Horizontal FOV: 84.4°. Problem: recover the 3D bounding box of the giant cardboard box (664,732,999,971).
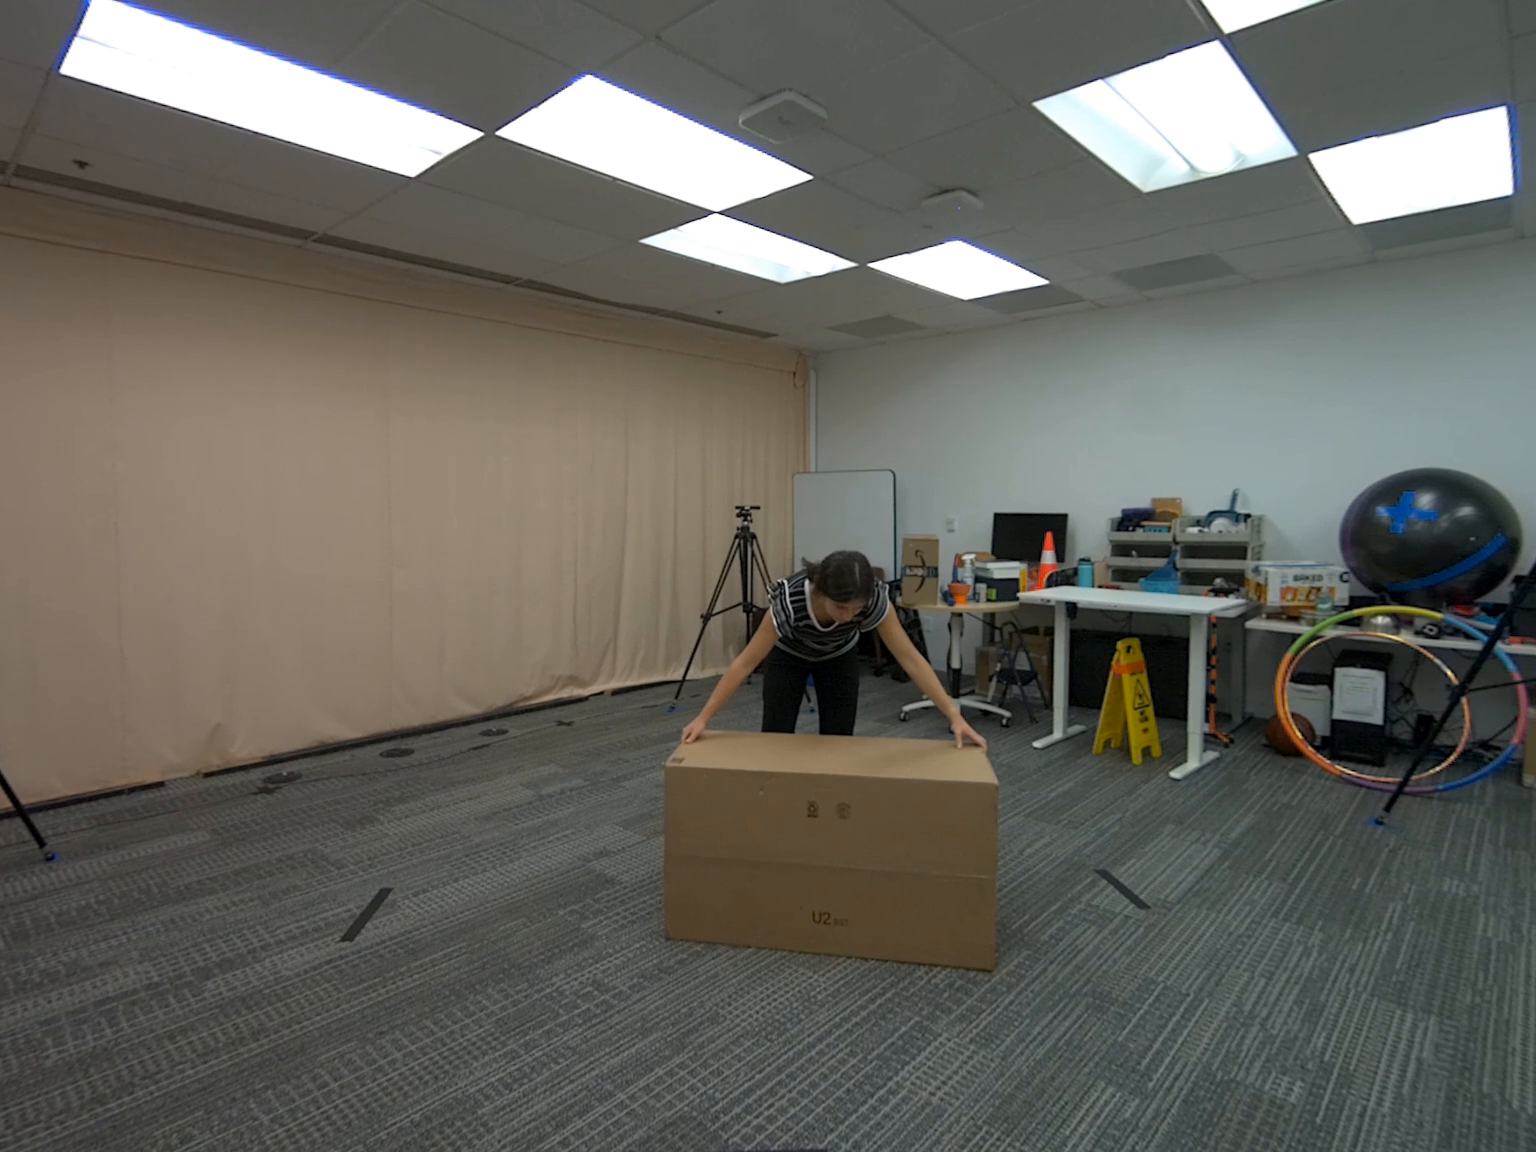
[{"bbox_3d":[0.205,0.868,2.793,1.038,0.576,0.422,1,4,11],"label":"giant cardboard box"}]
